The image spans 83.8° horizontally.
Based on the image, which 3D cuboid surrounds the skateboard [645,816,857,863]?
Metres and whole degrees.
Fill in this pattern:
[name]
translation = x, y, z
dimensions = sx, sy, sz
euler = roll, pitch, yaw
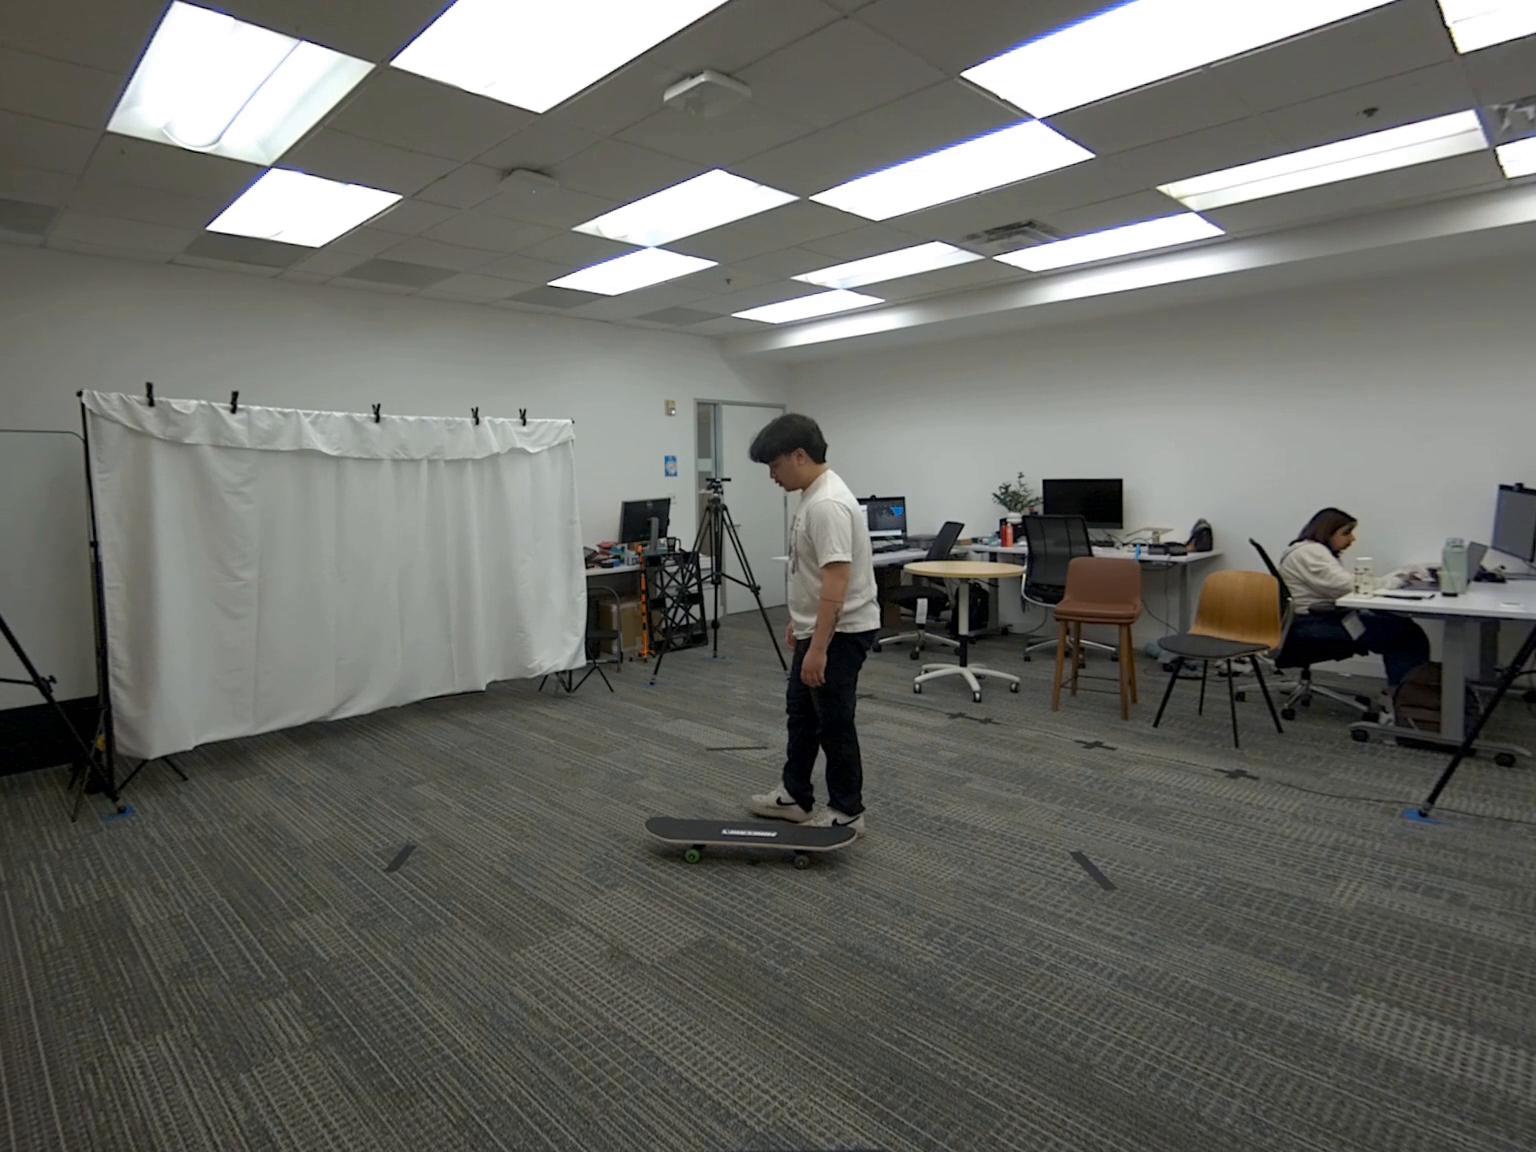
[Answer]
[skateboard]
translation = -0.067, 0.978, 3.159
dimensions = 0.792, 0.110, 0.192
euler = 0, 6, 9
